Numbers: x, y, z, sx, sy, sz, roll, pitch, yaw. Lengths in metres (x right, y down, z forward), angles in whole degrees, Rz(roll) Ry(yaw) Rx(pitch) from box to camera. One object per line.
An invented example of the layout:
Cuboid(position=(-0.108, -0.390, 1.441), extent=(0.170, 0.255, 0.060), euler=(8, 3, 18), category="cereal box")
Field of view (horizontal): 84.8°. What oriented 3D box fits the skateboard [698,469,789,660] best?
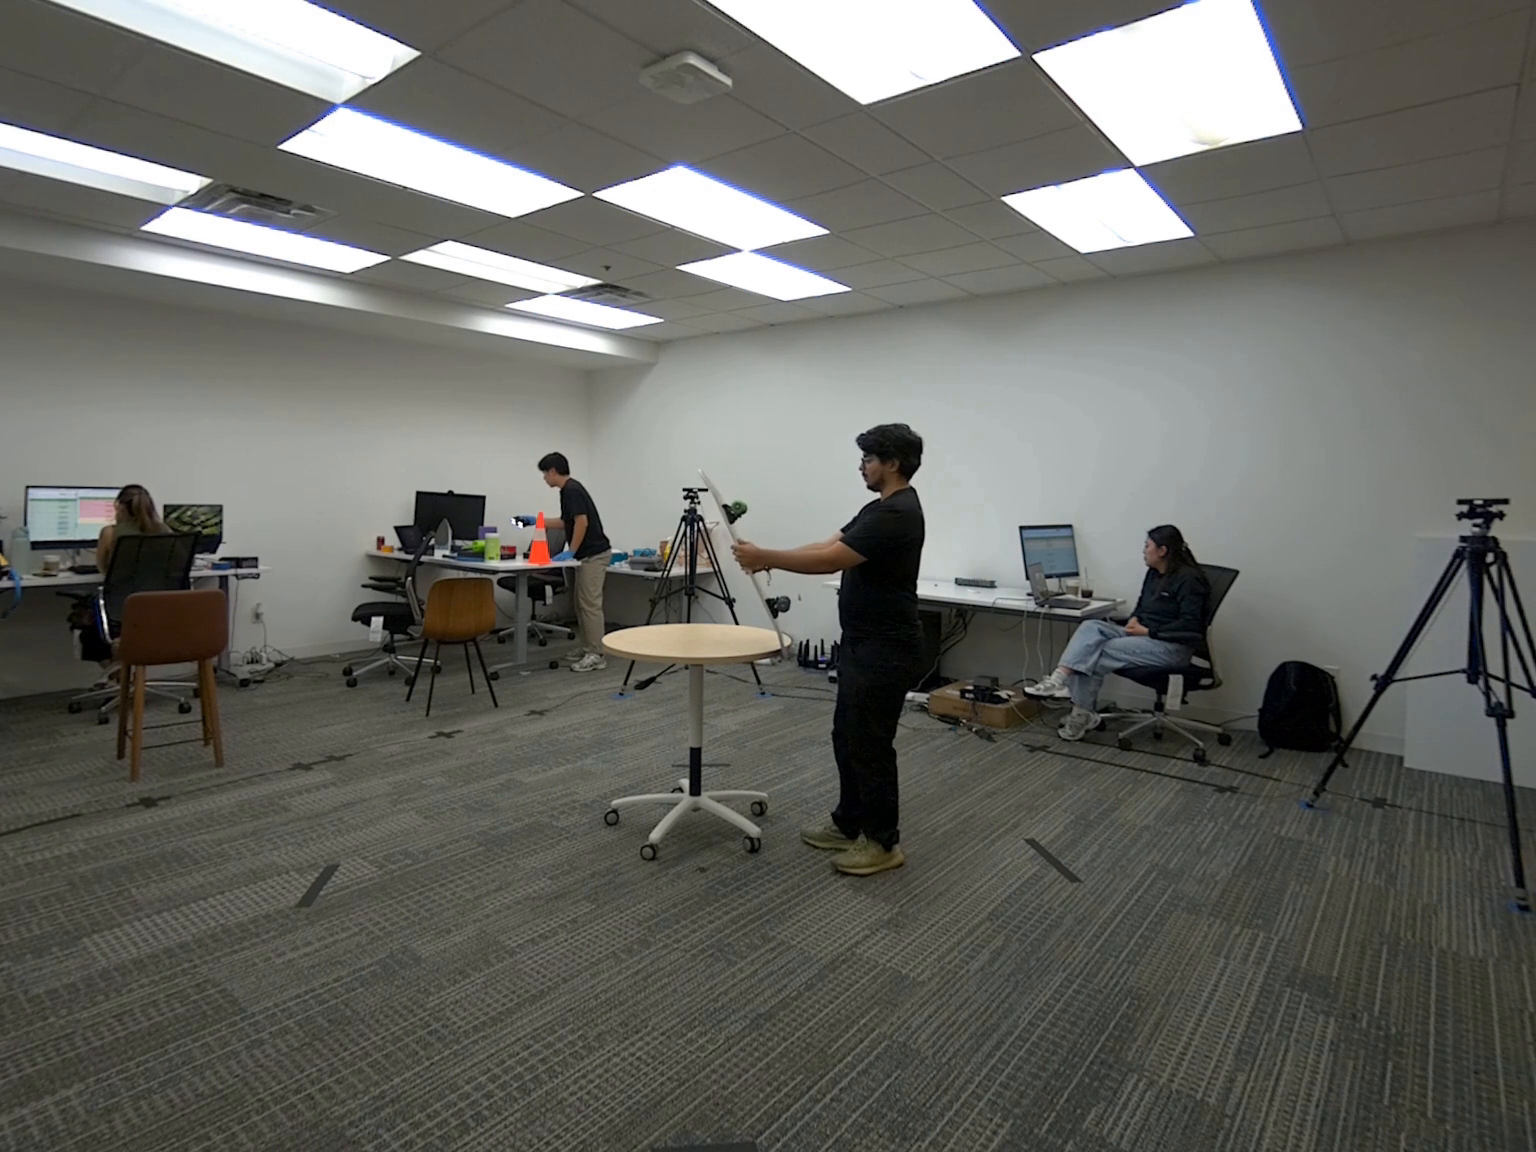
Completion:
Cuboid(position=(-0.066, -0.066, 3.212), extent=(0.111, 0.786, 0.192), euler=(-25, 0, 6), category="skateboard")
